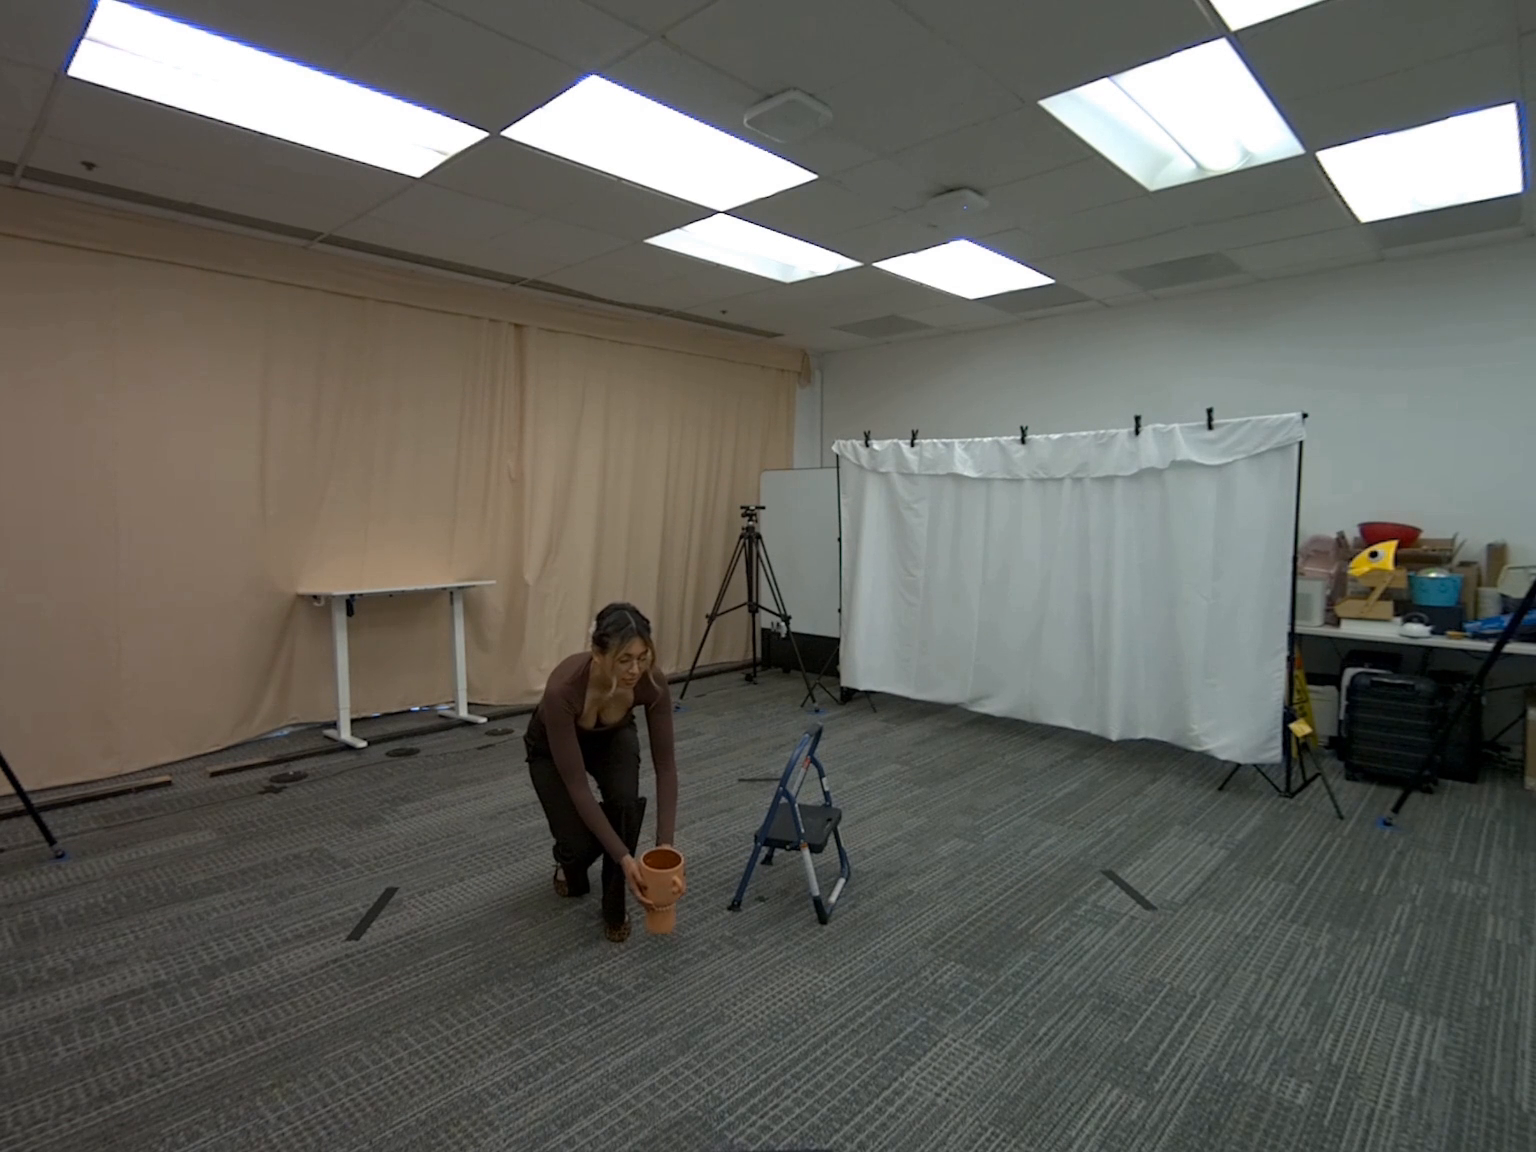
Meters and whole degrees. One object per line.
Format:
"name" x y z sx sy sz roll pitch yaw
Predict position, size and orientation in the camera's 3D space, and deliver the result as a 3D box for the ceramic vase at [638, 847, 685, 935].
"ceramic vase" -0.323 0.956 2.556 0.133 0.218 0.161 0 10 -10
